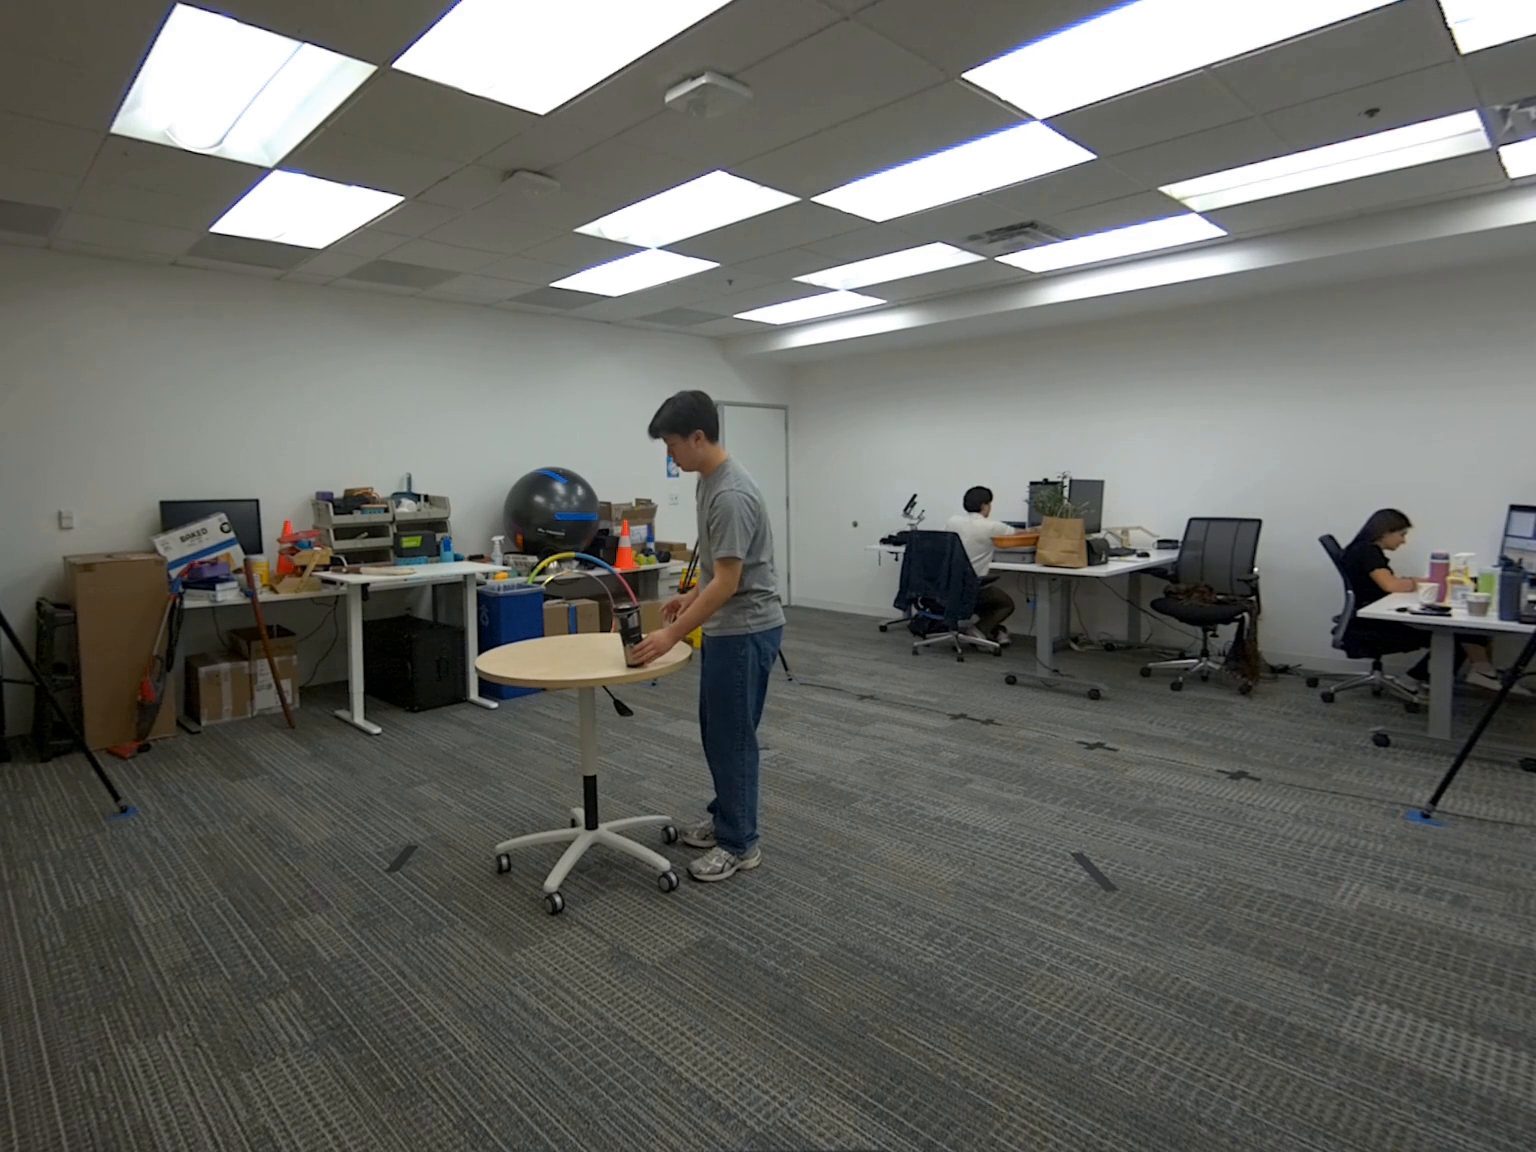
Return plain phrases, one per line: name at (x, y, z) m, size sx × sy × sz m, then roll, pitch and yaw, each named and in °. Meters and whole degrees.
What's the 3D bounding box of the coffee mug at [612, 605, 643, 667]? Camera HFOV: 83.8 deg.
coffee mug at (-0.466, 0.203, 2.815) m, size 0.089 × 0.202 × 0.120 m, roll -3°, pitch 6°, yaw 19°
